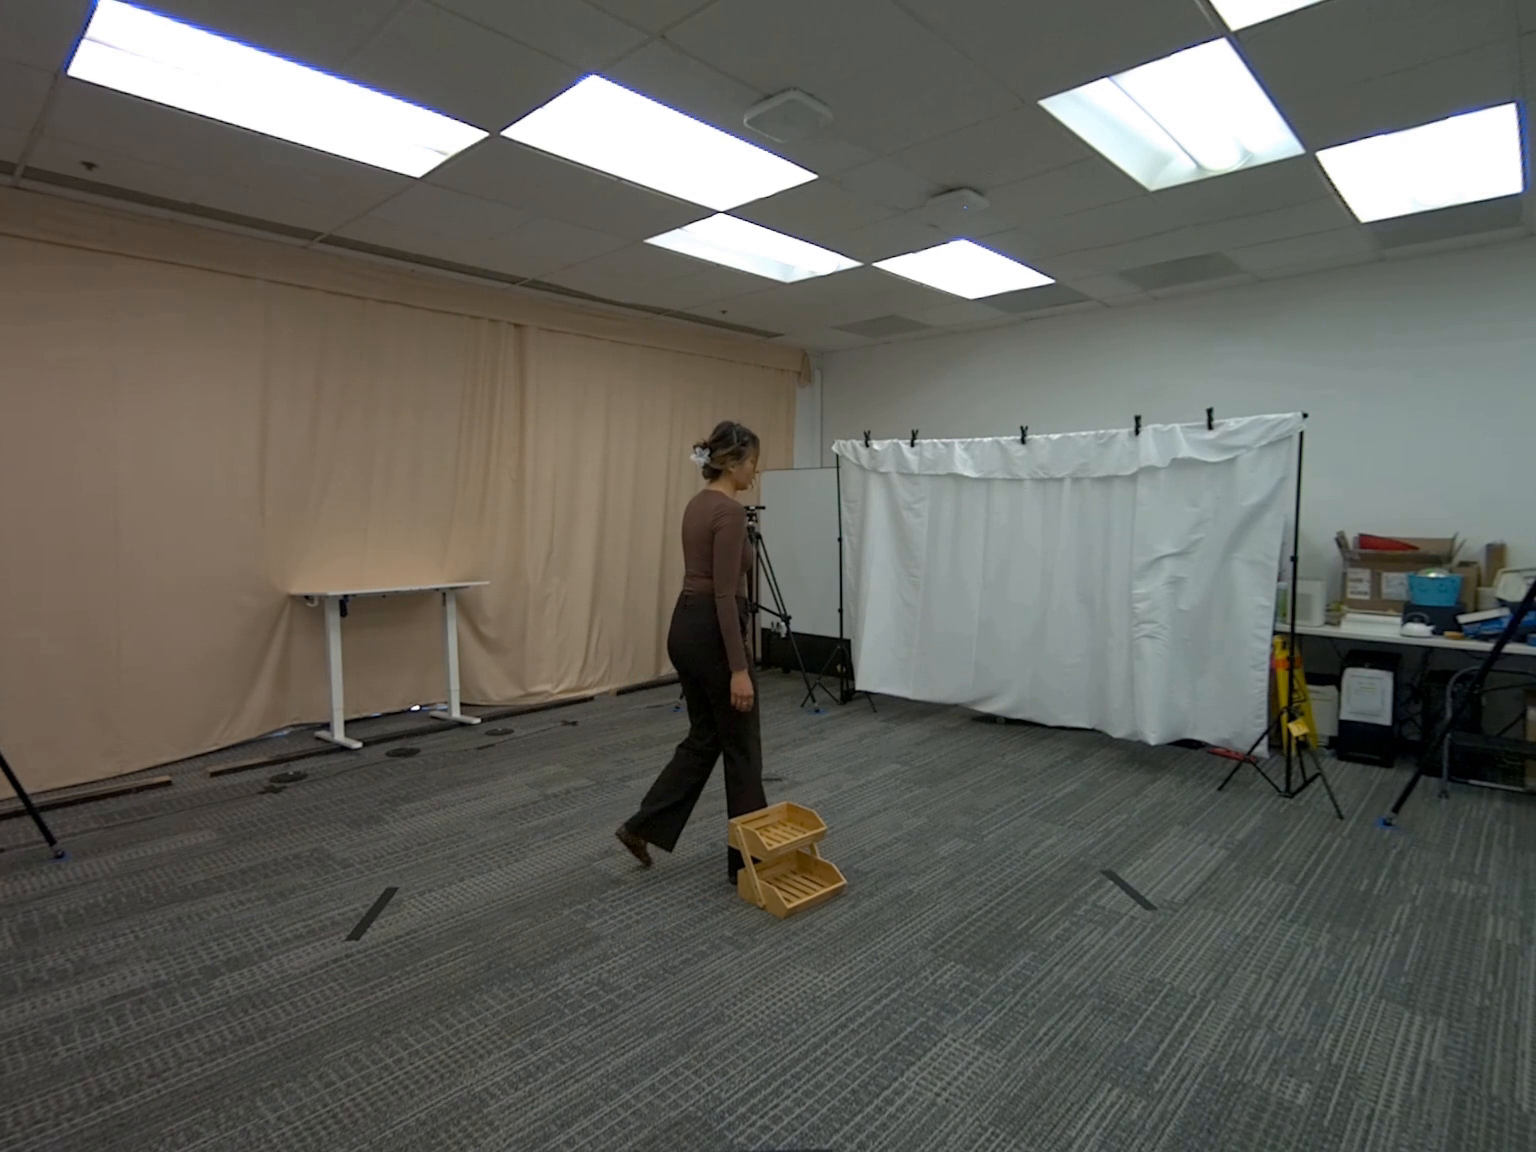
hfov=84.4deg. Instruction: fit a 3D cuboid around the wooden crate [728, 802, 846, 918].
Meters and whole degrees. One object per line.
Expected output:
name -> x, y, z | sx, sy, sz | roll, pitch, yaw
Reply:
wooden crate -> 0.077, 1.007, 3.019 | 0.314, 0.273, 0.312 | -4, 5, -42
